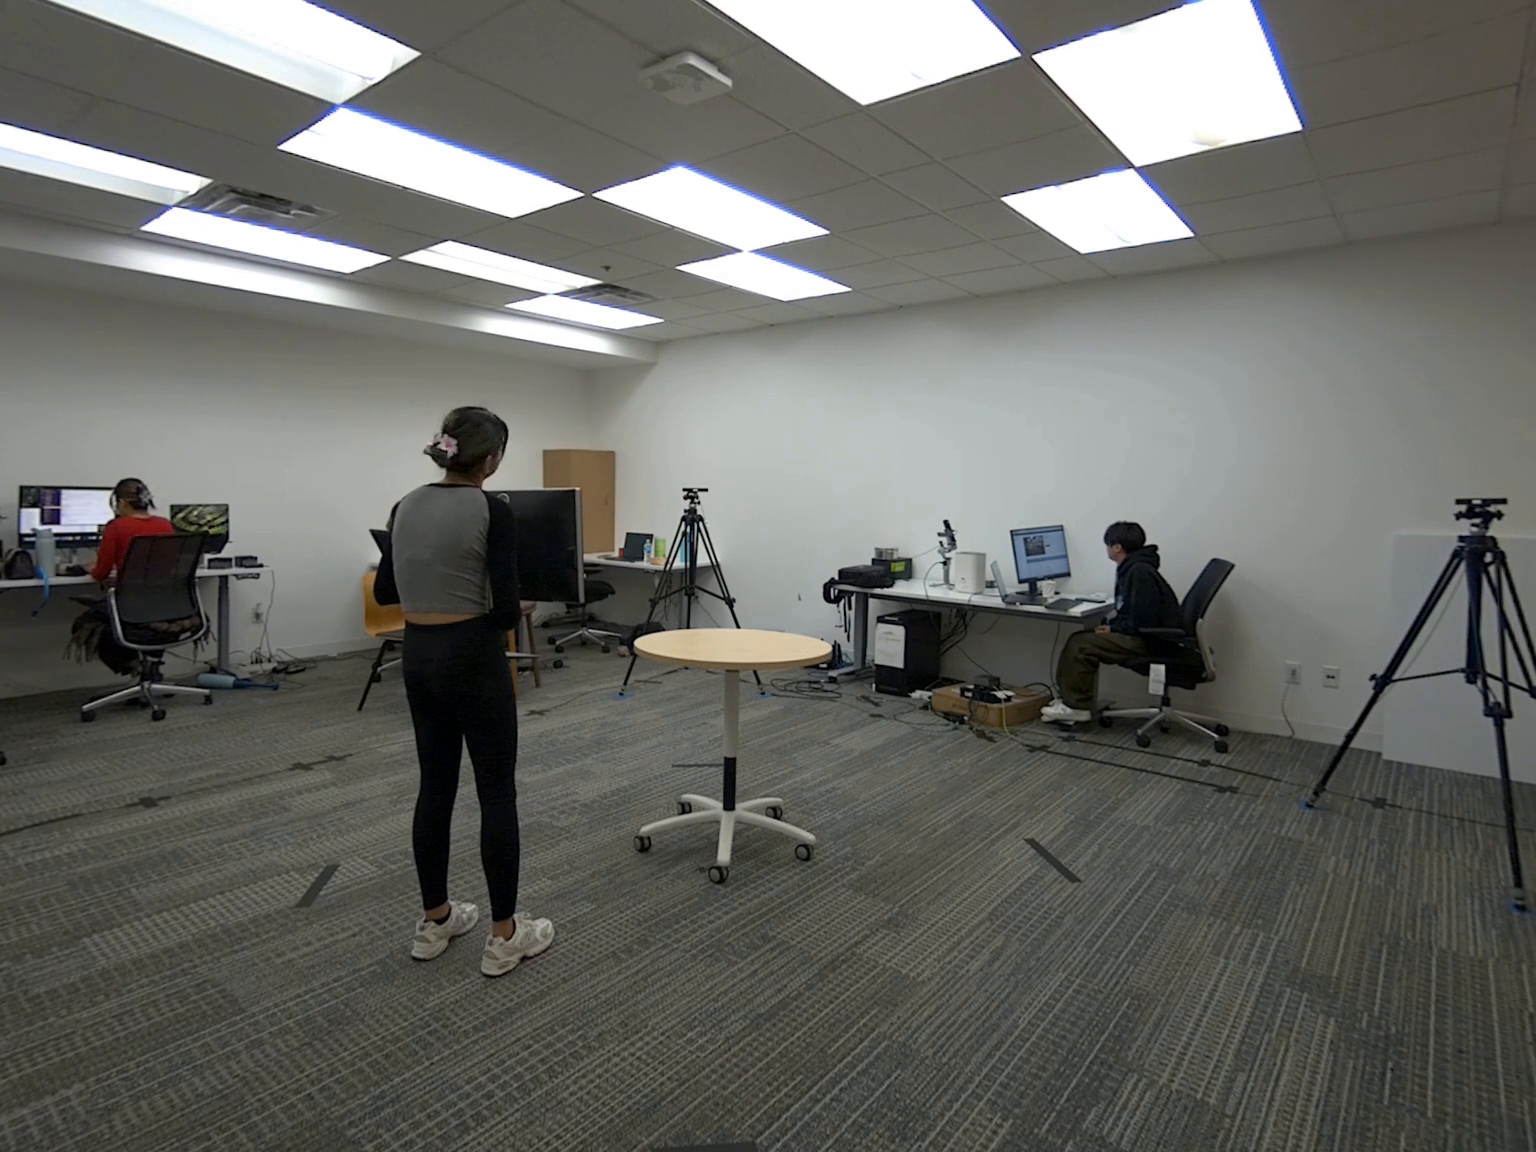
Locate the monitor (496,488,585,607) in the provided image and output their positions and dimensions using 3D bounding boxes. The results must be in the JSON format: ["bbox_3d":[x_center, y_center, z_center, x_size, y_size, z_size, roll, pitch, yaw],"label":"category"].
[{"bbox_3d":[-0.866,-0.011,2.731,0.552,0.525,0.182,1,-6,23],"label":"monitor"}]
